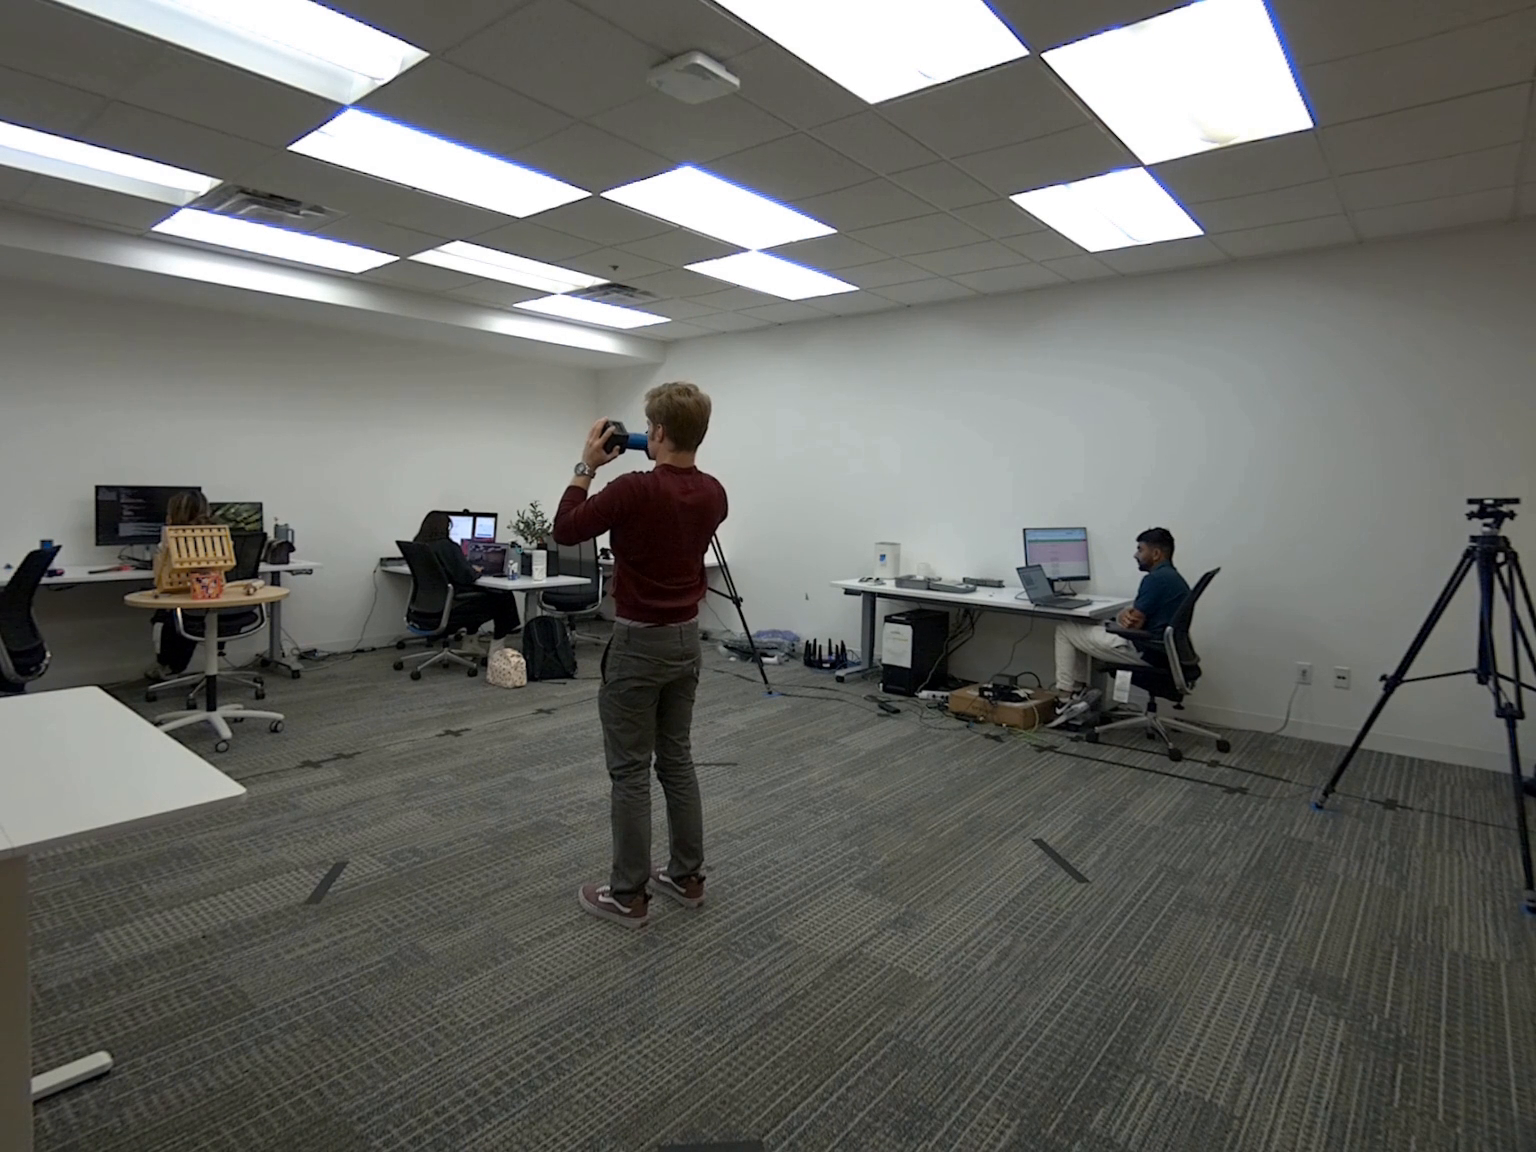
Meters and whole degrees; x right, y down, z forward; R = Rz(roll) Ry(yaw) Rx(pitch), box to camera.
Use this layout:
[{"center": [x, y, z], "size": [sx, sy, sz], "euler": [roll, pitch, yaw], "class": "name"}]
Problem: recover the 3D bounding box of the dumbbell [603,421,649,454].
[{"center": [-0.452, -0.454, 2.864], "size": [0.284, 0.122, 0.113], "euler": [0, 24, -44], "class": "dumbbell"}]
